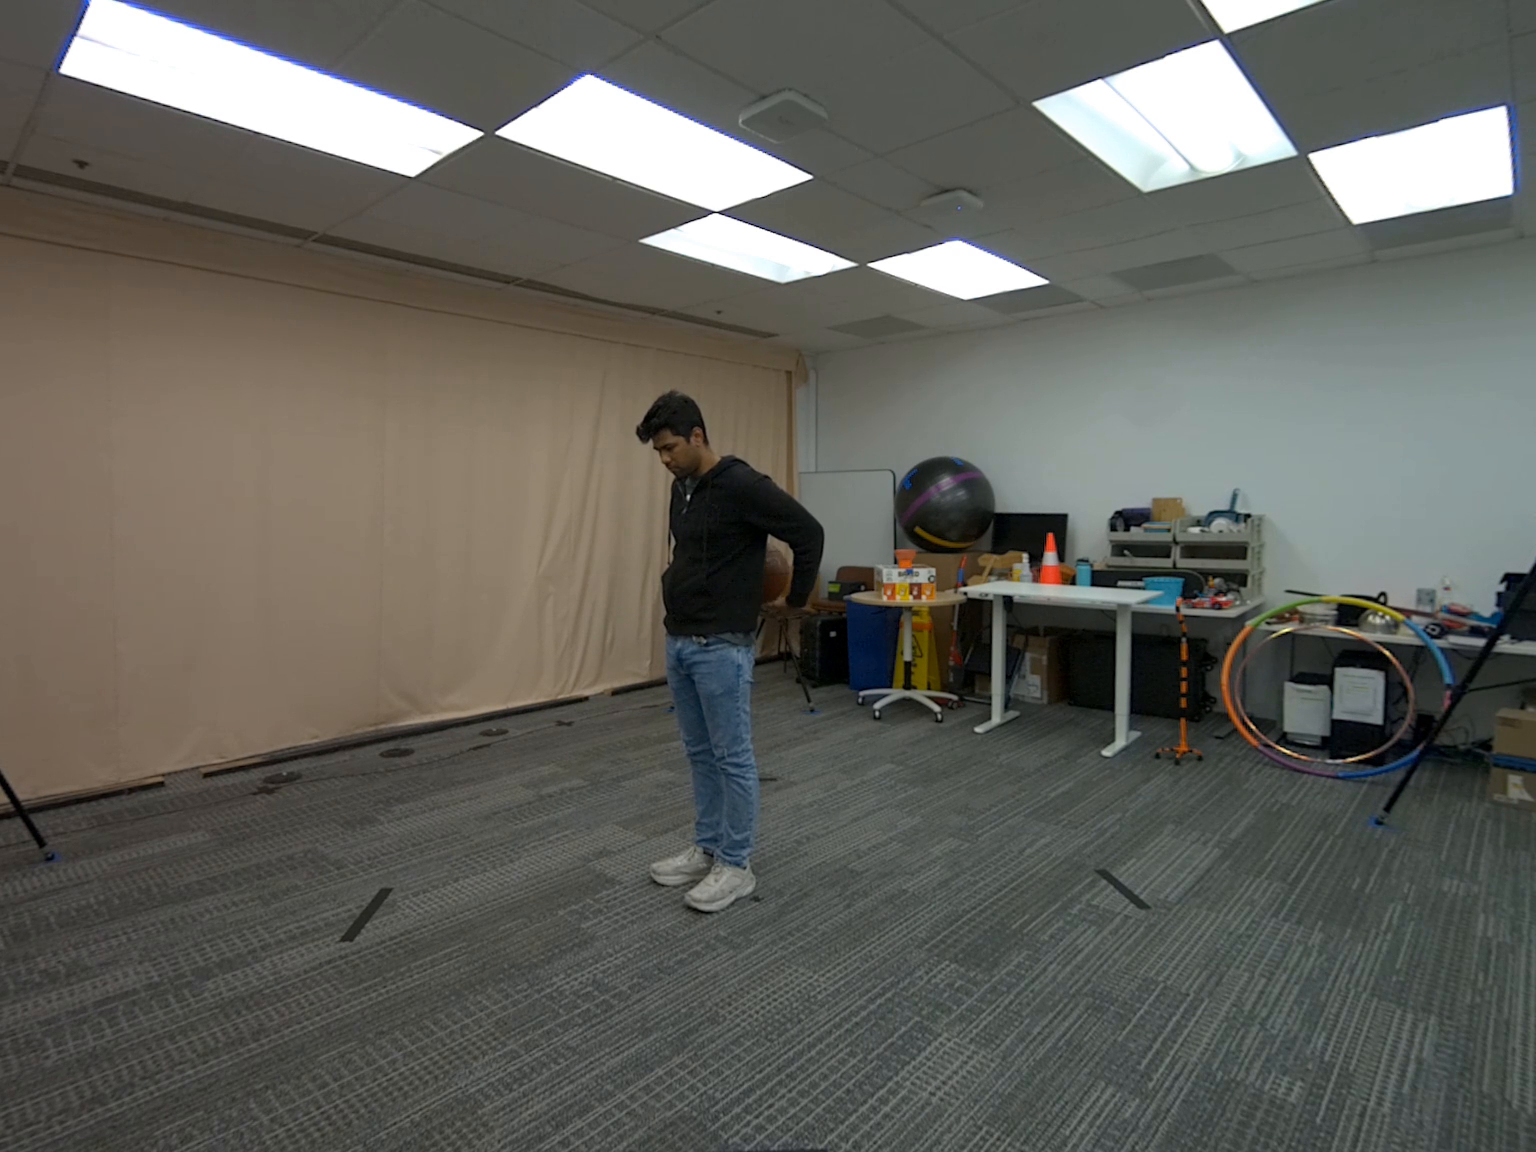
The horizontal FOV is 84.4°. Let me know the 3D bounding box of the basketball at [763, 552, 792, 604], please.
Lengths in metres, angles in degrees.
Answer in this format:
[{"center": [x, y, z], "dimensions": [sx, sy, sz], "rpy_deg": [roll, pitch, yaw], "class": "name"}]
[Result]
[{"center": [-0.044, -0.016, 3.166], "dimensions": [0.236, 0.235, 0.237], "rpy_deg": [0, 4, -2], "class": "basketball"}]
